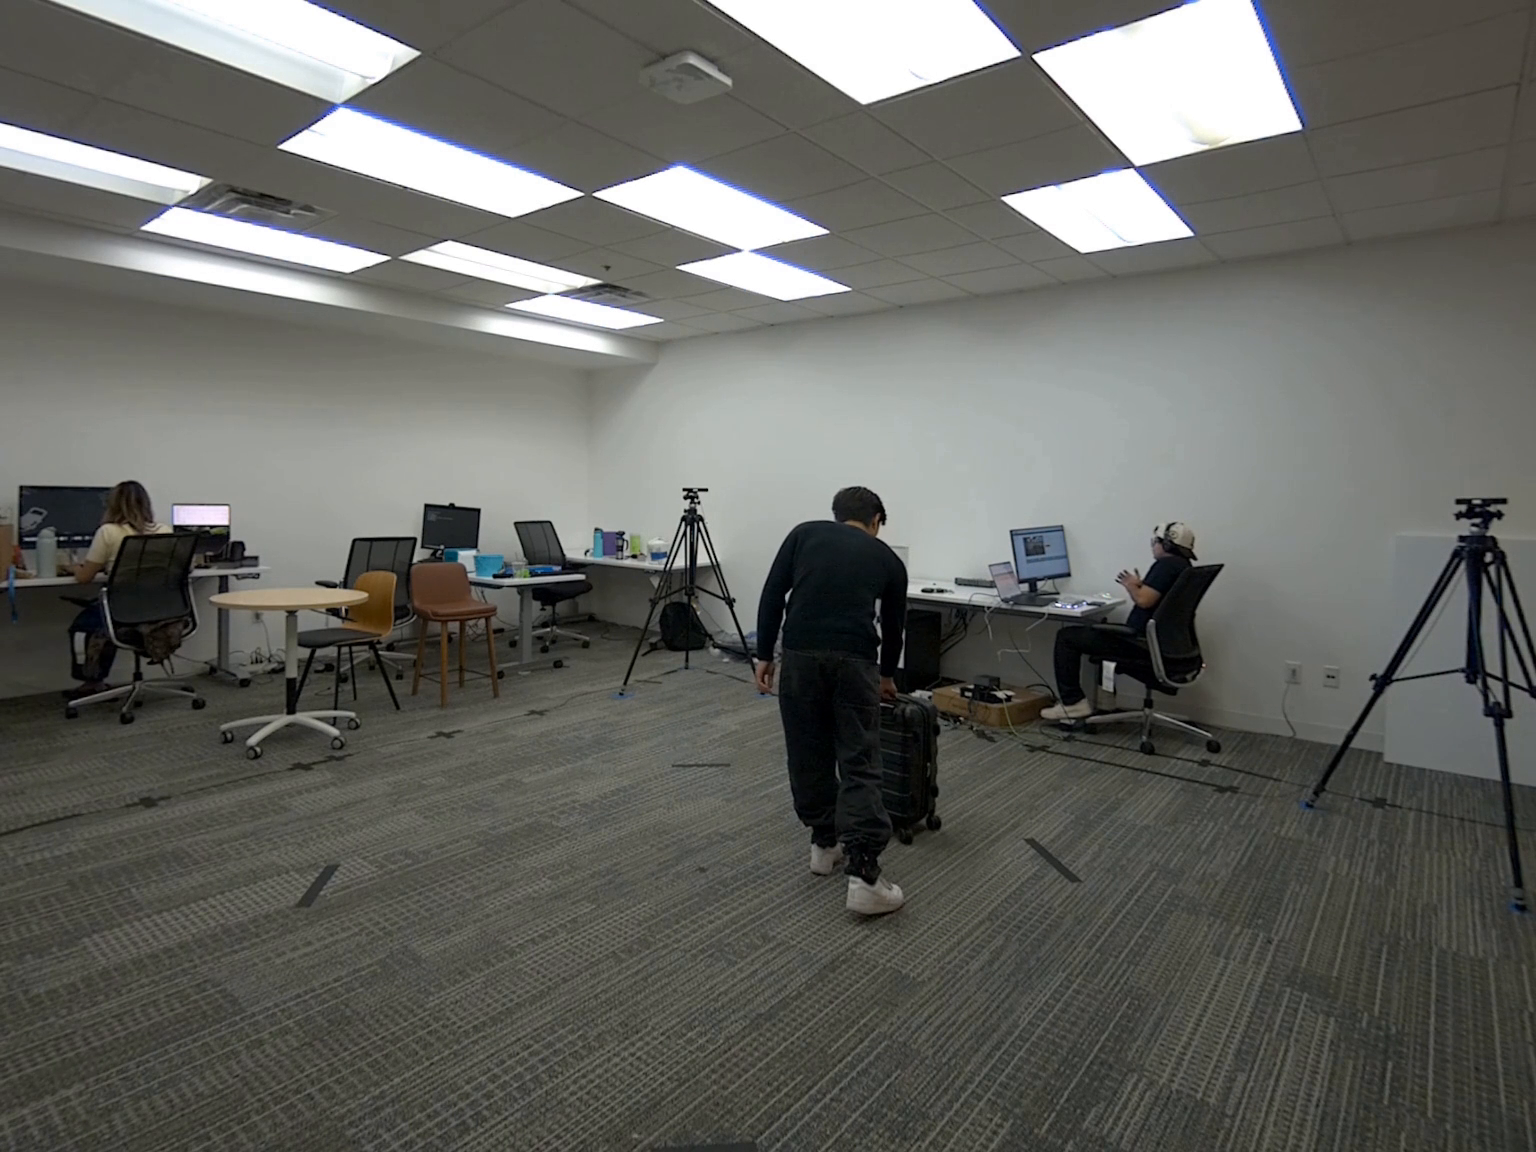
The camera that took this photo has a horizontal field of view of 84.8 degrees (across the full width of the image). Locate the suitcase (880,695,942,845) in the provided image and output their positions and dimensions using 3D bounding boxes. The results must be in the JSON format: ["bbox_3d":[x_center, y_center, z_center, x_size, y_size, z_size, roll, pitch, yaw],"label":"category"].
[{"bbox_3d":[0.504,0.763,3.581,0.388,0.549,0.240,2,2,44],"label":"suitcase"}]
